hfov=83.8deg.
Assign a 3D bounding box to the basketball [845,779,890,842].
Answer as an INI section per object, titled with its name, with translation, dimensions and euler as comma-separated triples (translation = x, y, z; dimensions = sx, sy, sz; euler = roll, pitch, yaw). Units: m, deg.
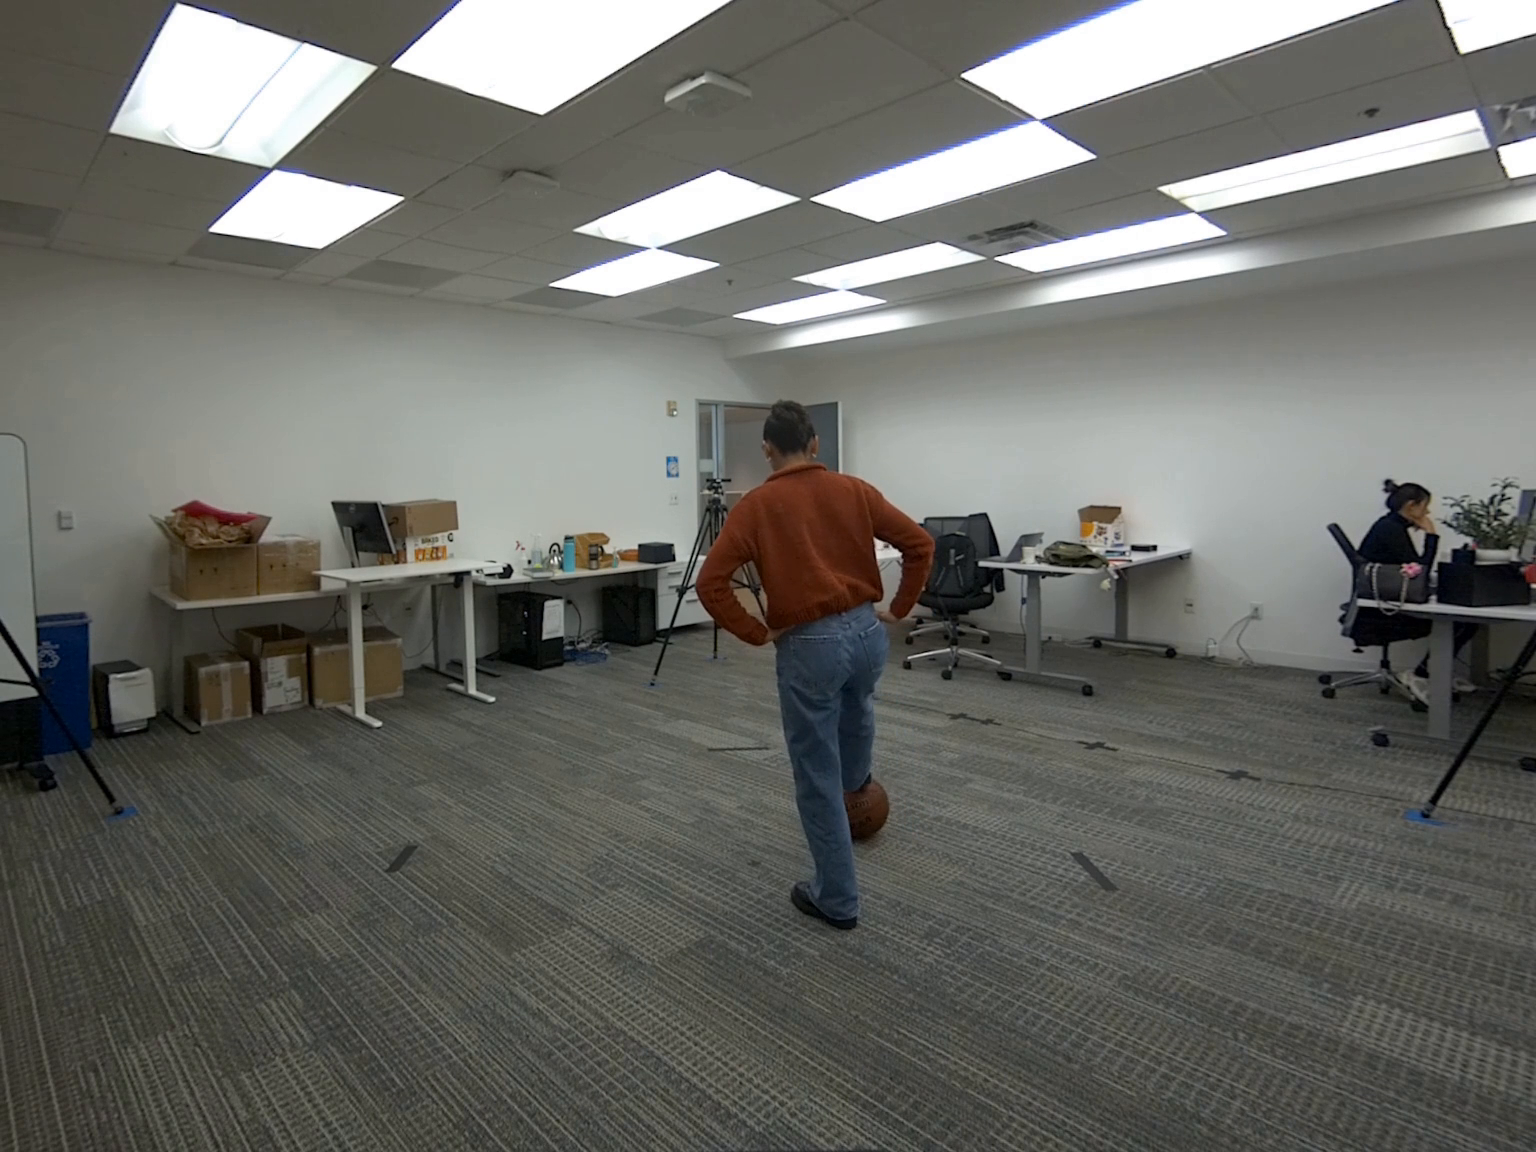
[basketball]
translation = 0.356, 0.898, 3.329
dimensions = 0.236, 0.235, 0.237
euler = -1, 5, -2
